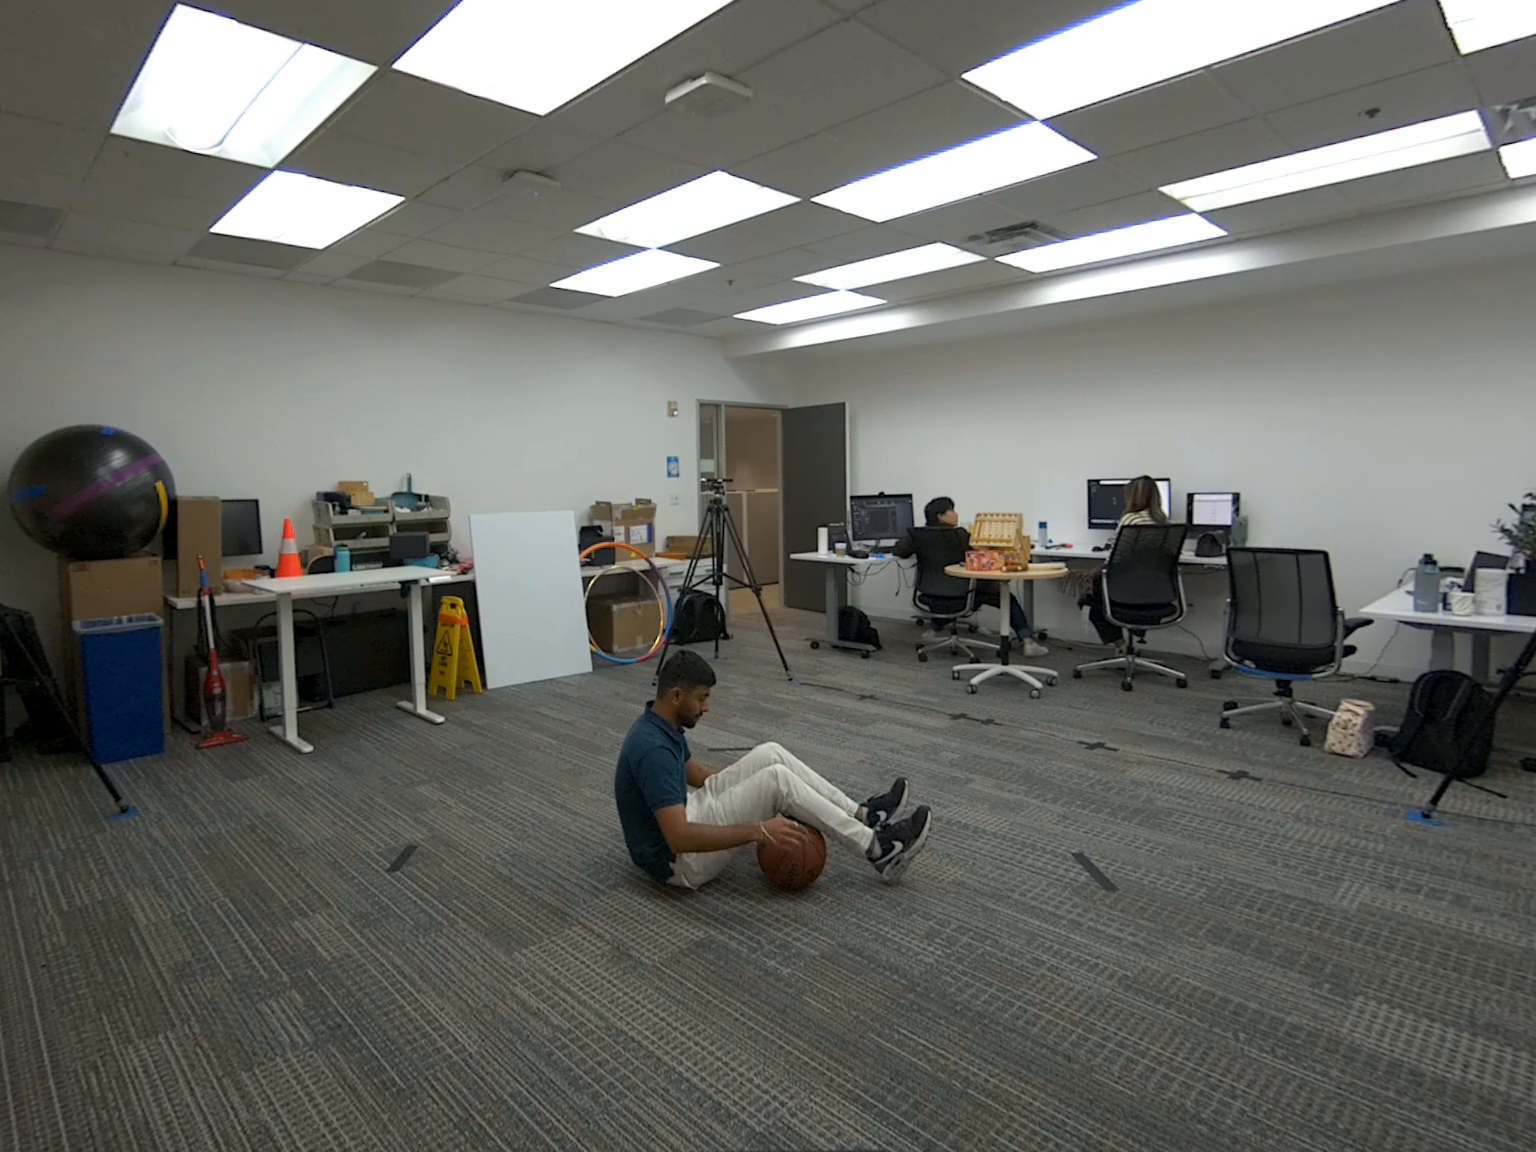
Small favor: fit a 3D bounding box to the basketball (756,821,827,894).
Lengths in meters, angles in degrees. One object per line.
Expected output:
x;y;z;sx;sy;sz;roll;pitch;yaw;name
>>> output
0.067;0.948;2.901;0.236;0.235;0.237;-1;5;-2;basketball
